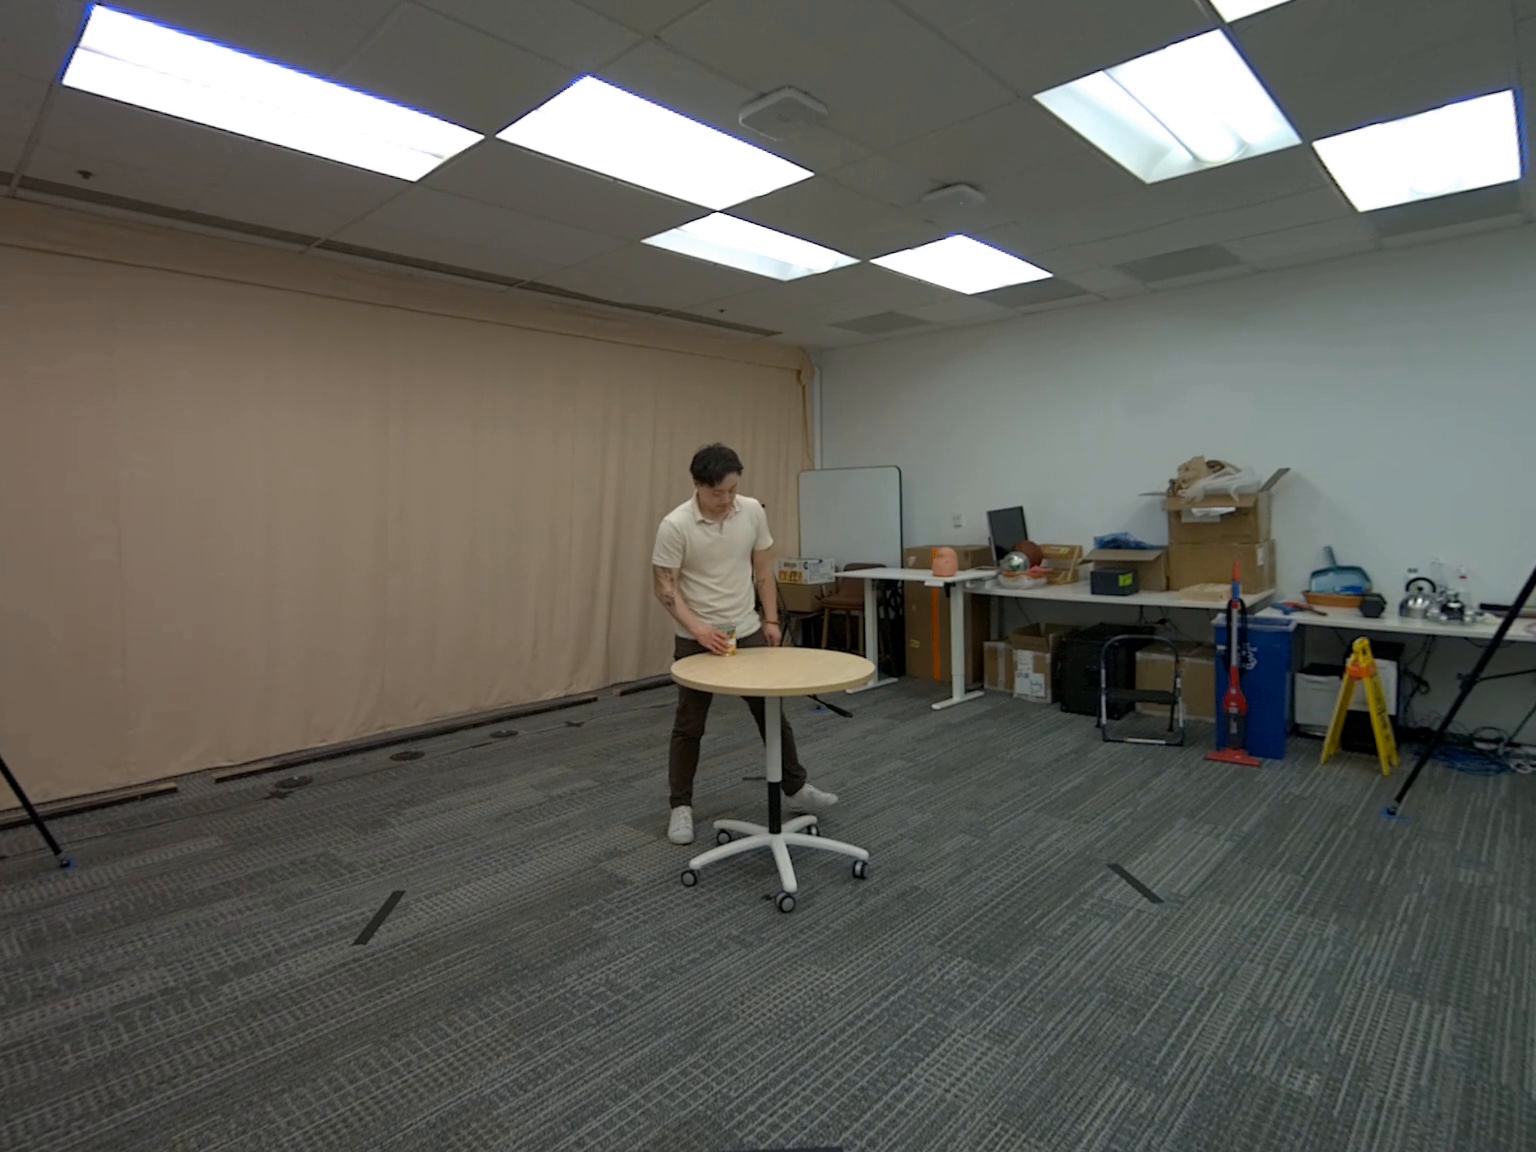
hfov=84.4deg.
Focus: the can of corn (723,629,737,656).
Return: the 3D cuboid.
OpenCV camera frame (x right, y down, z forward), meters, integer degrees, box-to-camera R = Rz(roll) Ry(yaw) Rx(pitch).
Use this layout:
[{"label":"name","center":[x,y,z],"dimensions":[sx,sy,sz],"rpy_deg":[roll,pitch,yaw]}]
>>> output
[{"label":"can of corn","center":[-0.171,0.263,3.408],"dimensions":[0.074,0.111,0.074],"rpy_deg":[-4,1,-2]}]
